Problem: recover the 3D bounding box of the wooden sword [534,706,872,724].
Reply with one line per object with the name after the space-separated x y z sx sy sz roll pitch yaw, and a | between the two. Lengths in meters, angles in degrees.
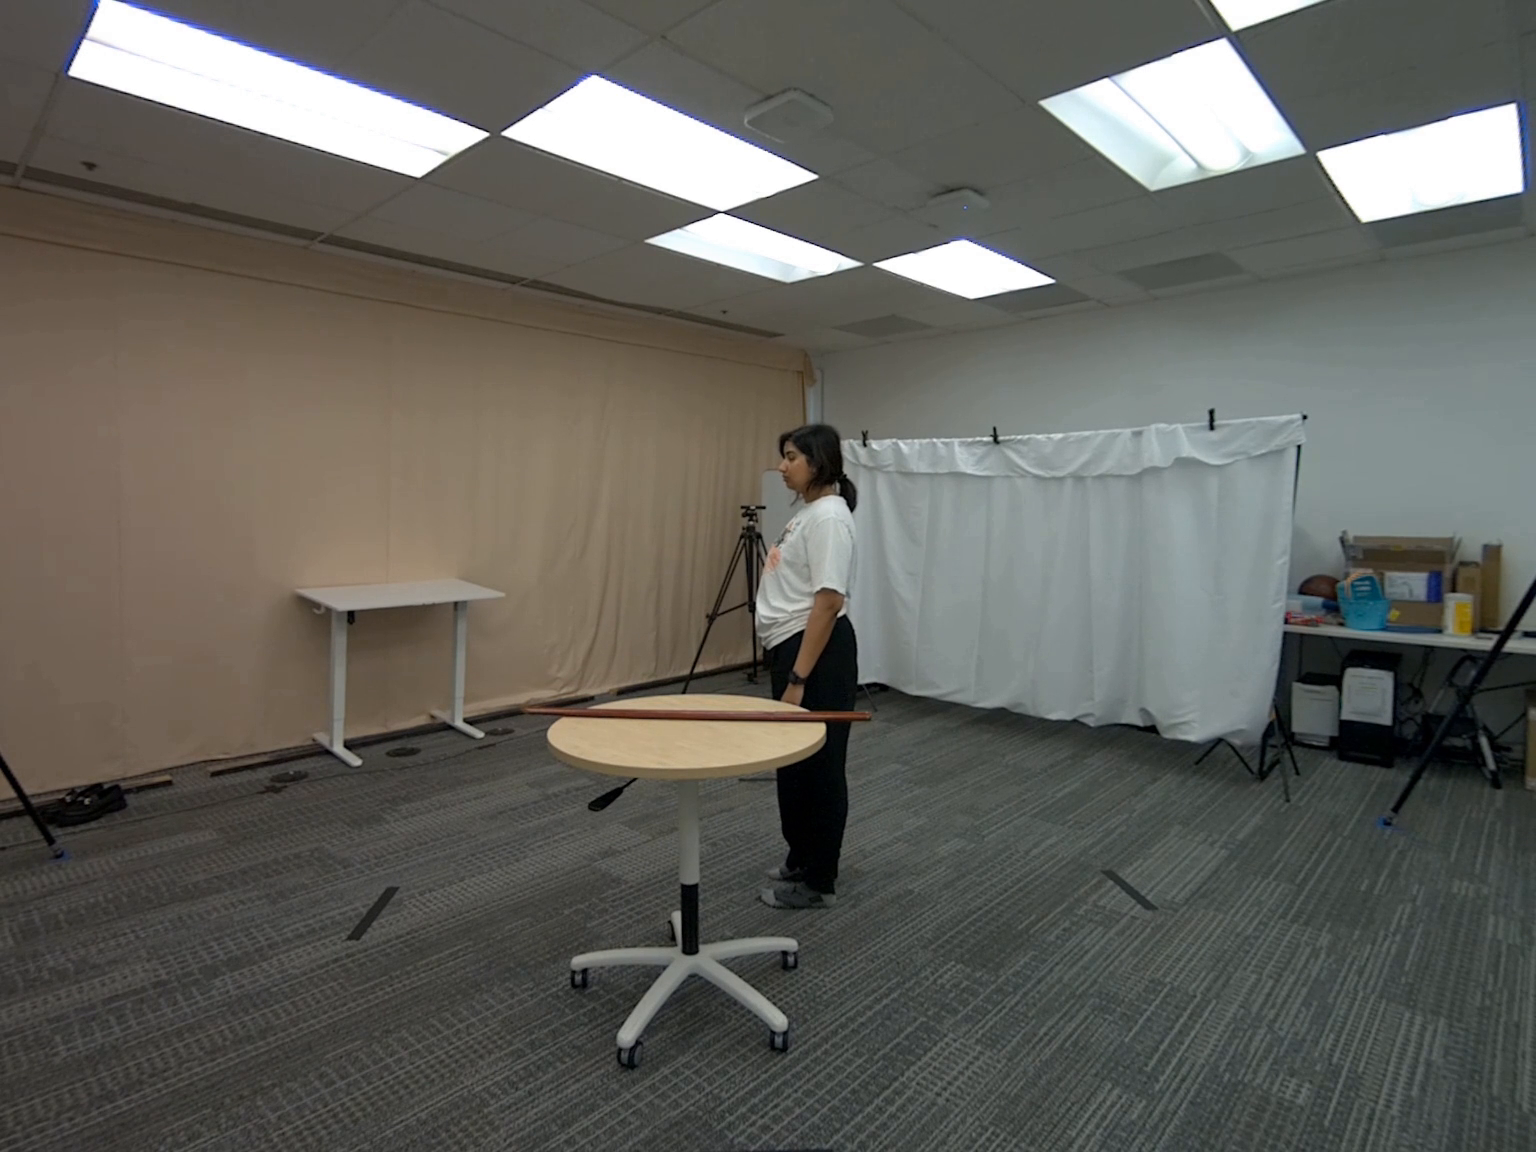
-0.144 0.380 2.414 1.035 0.023 0.052 -1 40 9 | wooden sword
